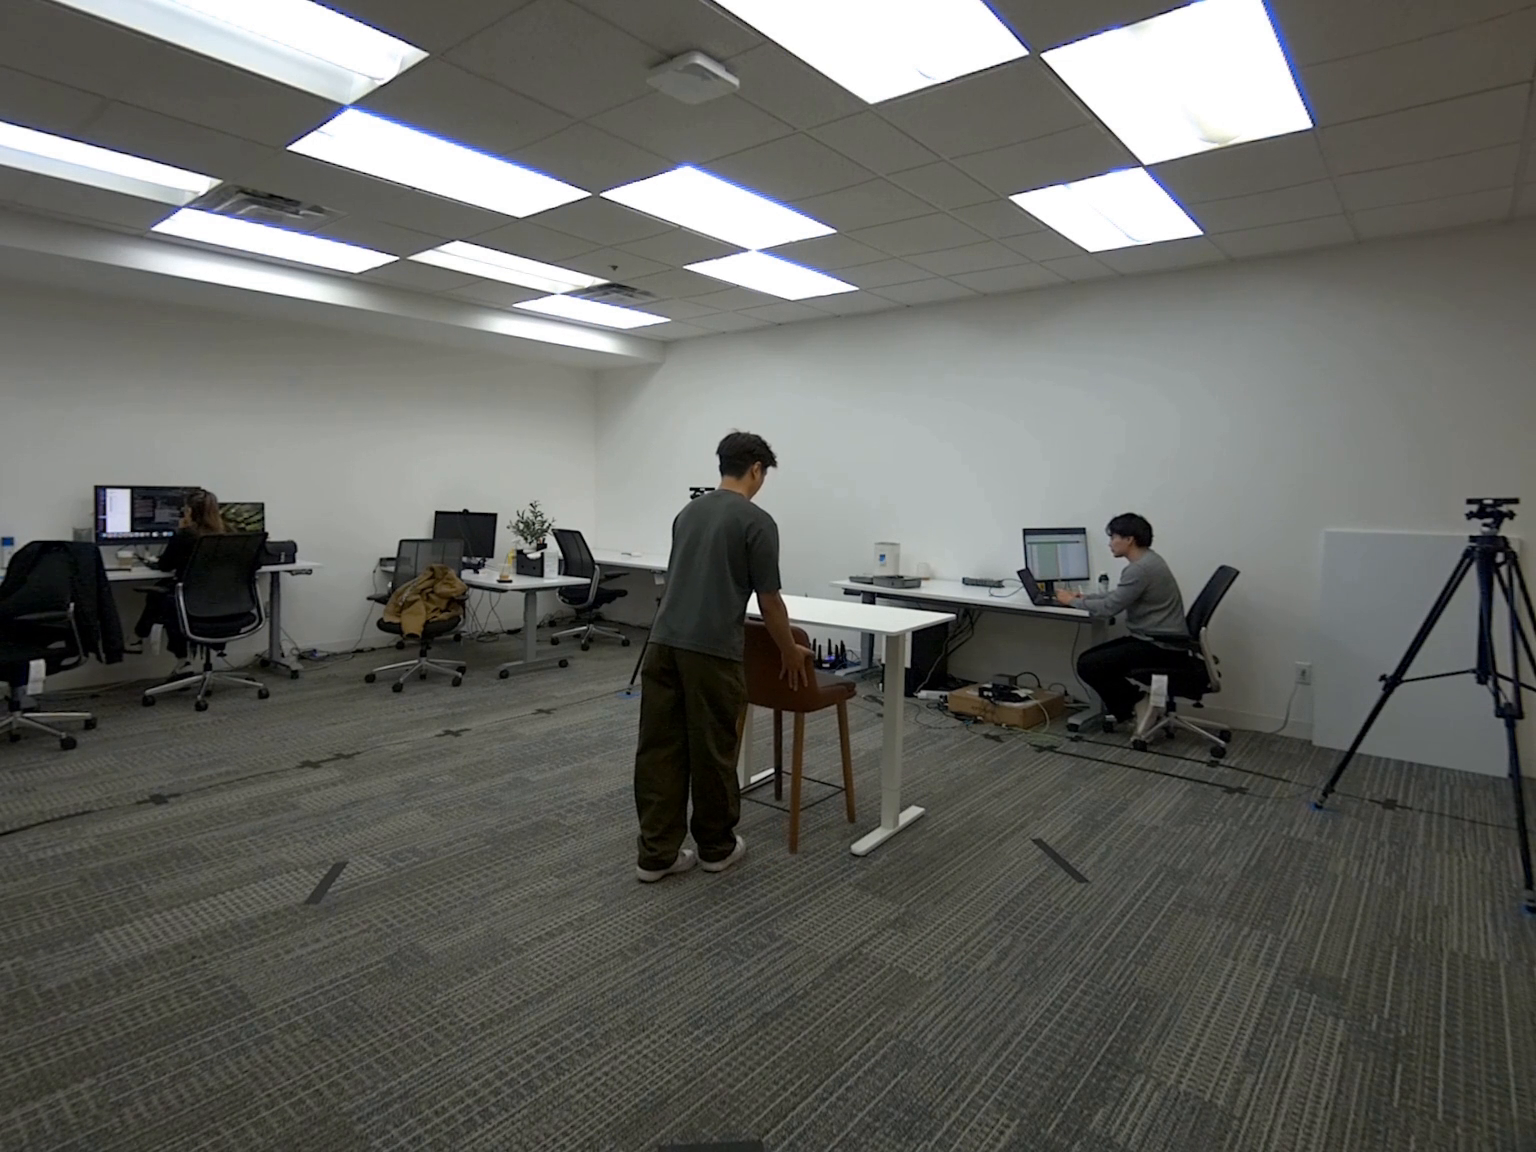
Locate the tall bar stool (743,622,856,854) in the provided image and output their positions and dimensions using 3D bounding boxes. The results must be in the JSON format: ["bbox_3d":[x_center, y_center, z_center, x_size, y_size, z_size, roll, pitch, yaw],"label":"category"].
[{"bbox_3d":[0.074,0.593,3.508,0.471,0.885,0.455,4,7,37],"label":"tall bar stool"}]
